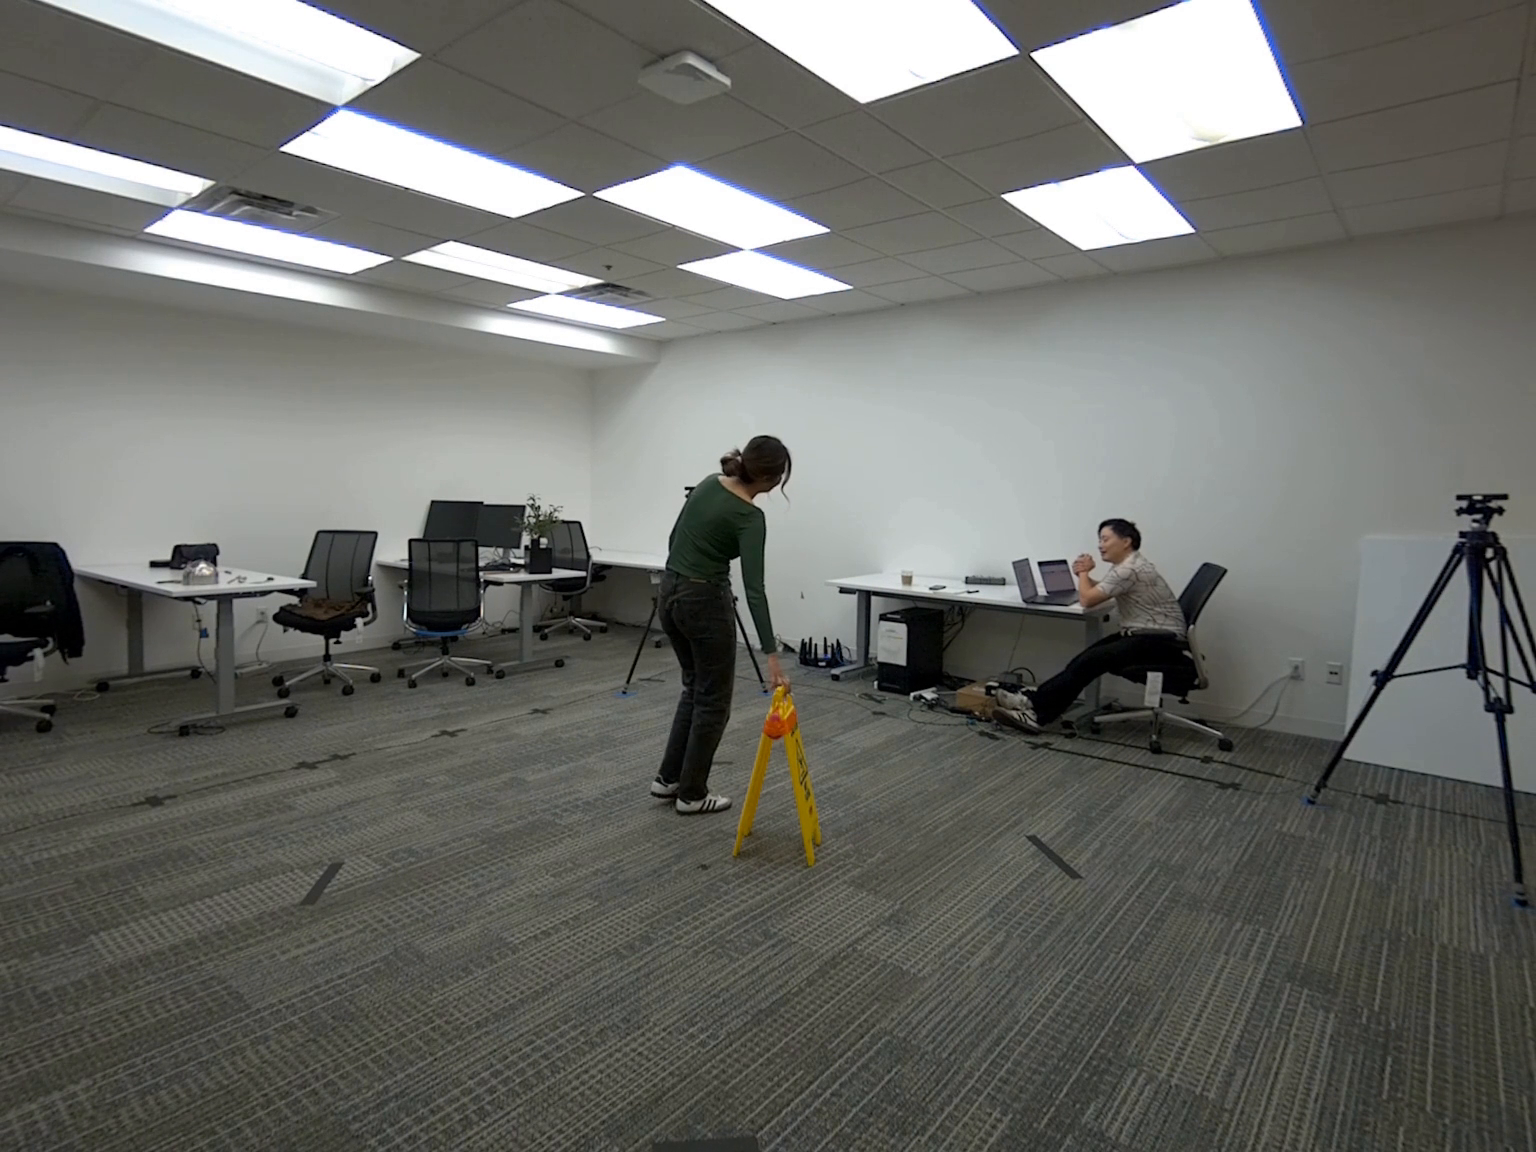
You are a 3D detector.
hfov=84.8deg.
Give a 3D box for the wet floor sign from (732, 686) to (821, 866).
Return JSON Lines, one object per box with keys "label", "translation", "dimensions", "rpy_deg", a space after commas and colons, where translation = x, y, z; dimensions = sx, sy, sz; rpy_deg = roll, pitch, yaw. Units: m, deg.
{"label": "wet floor sign", "translation": [0.035, 0.729, 3.285], "dimensions": [0.294, 0.645, 0.278], "rpy_deg": [1, 2, 13]}
